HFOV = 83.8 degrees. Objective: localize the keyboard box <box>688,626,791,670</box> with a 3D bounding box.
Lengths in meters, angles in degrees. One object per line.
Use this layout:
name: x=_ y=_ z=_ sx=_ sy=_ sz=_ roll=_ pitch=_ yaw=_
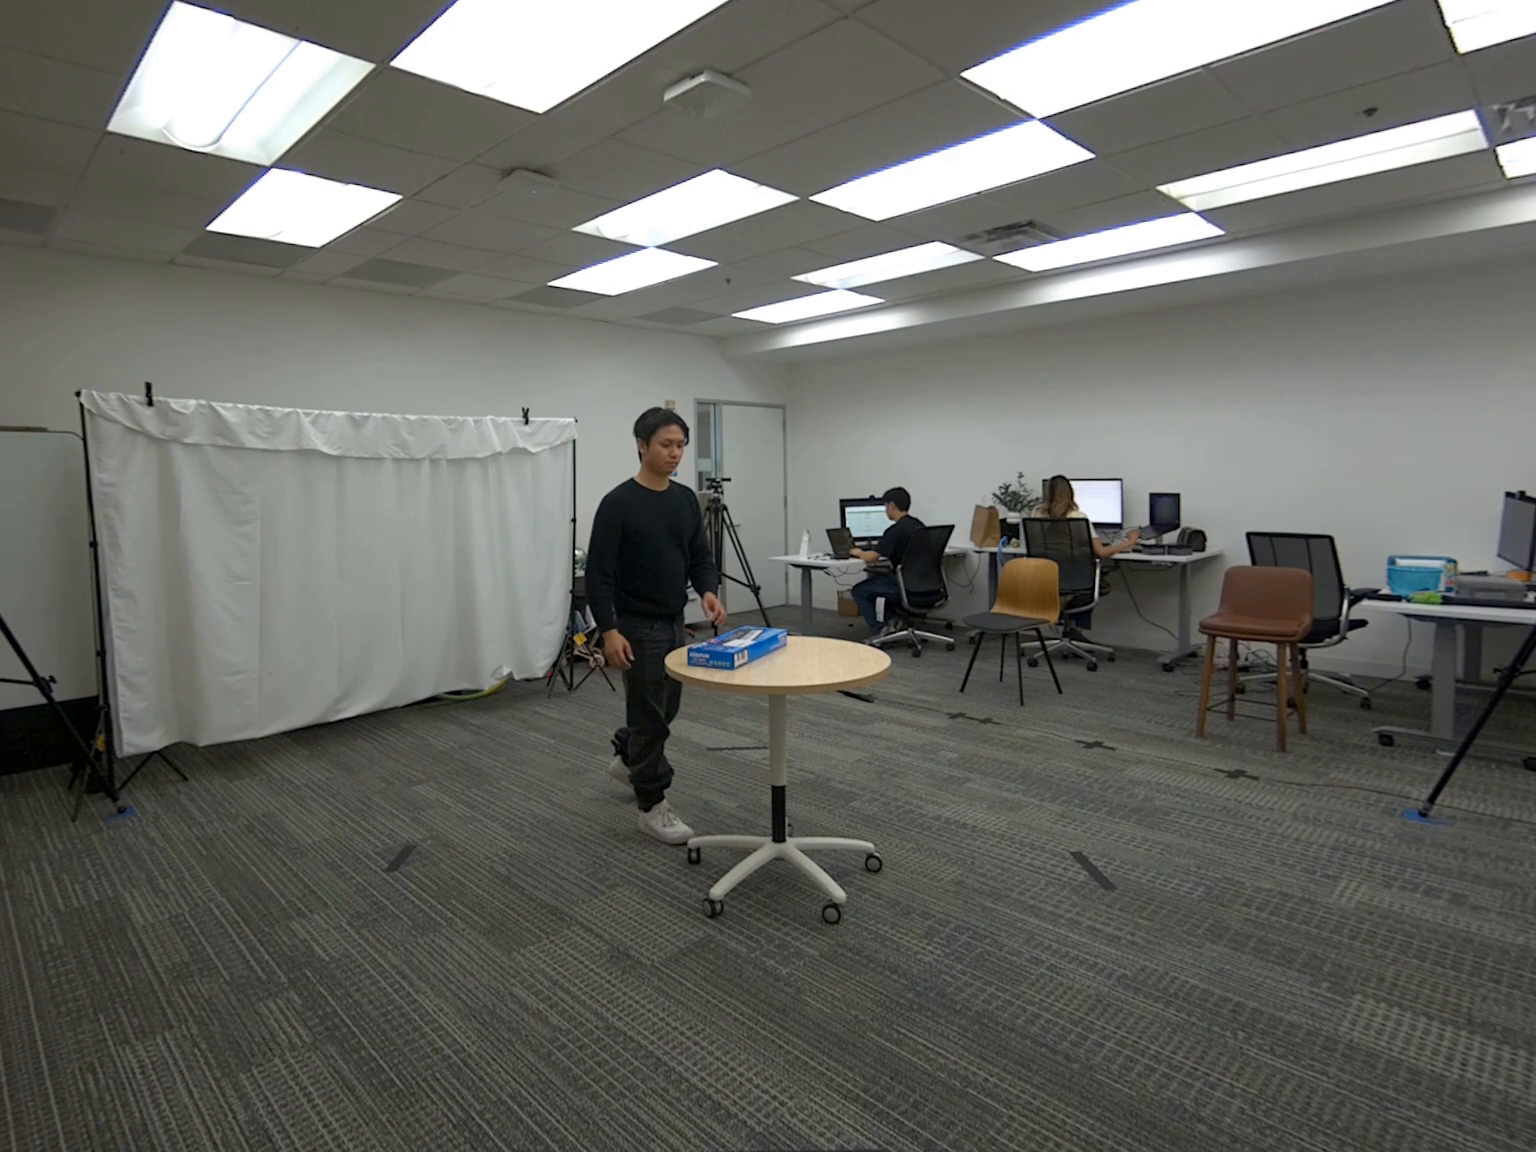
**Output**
keyboard box: x=-0.091 y=0.243 z=2.965 sx=0.180 sy=0.059 sz=0.428 roll=2 pitch=7 yaw=25
